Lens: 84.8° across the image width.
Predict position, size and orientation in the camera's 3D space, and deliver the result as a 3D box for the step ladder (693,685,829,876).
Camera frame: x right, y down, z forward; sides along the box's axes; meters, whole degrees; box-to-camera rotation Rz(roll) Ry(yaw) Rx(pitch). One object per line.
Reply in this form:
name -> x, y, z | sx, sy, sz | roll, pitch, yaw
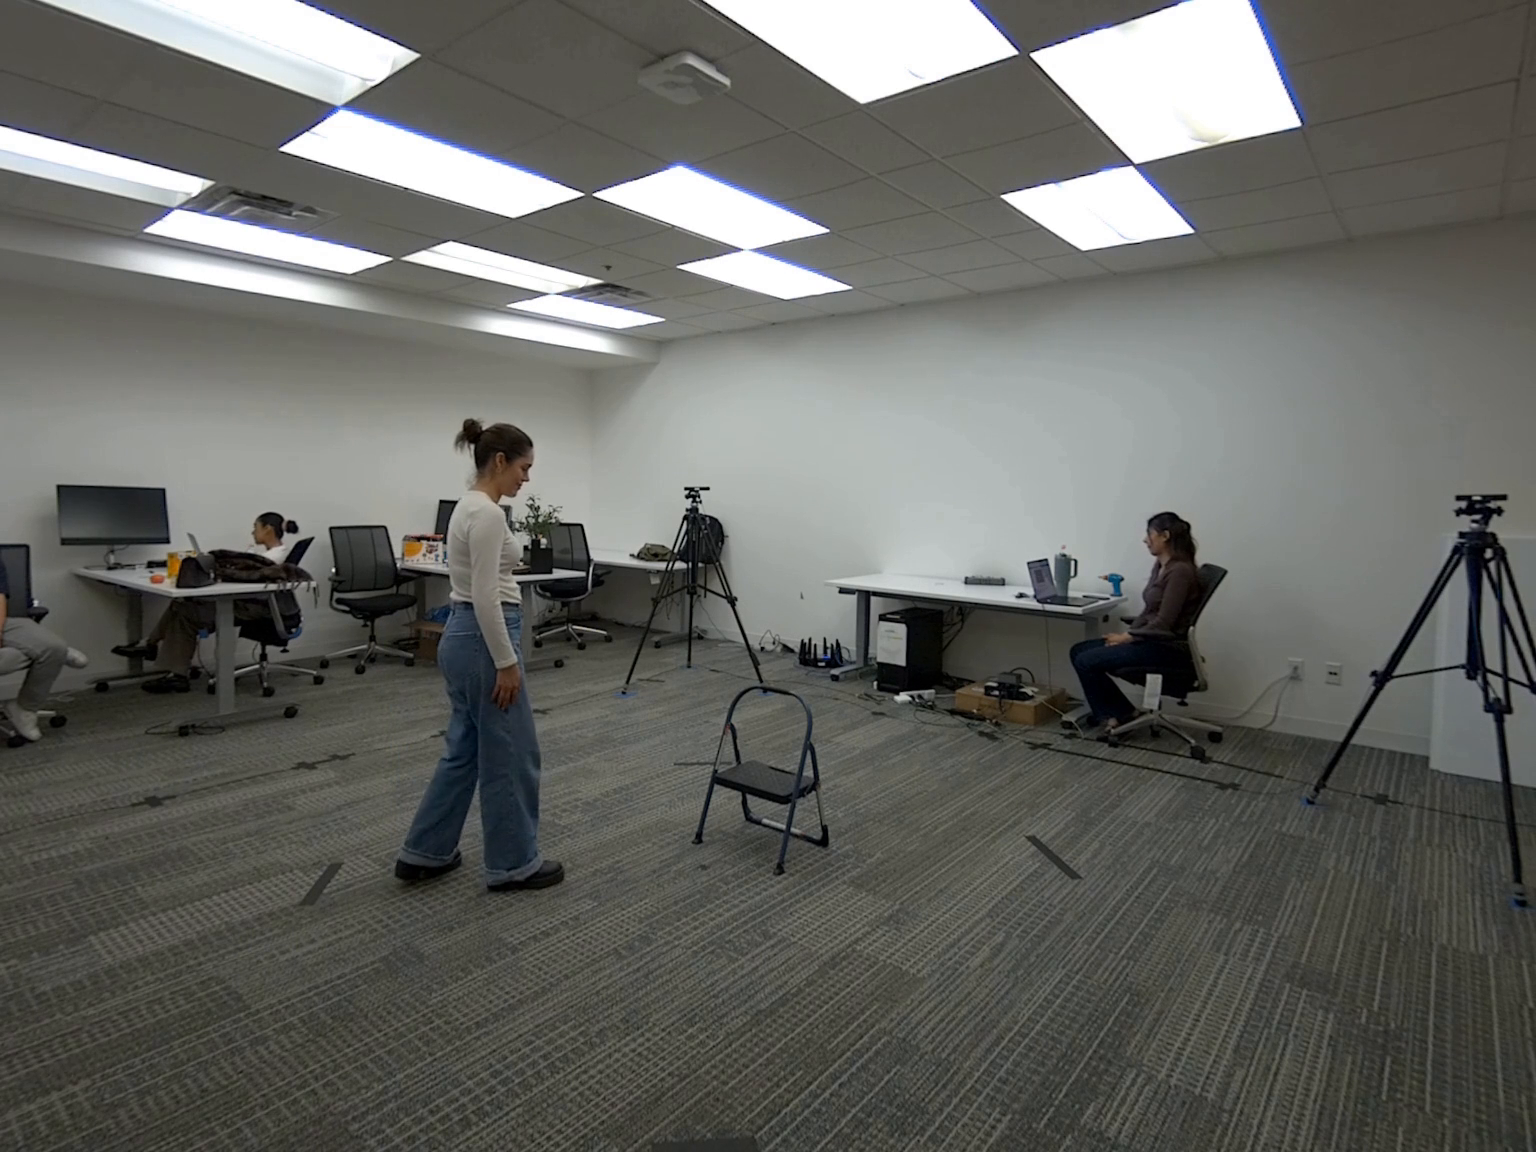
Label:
step ladder -> -0.024, 0.745, 3.316 | 0.445, 0.604, 0.339 | 5, 5, 37
